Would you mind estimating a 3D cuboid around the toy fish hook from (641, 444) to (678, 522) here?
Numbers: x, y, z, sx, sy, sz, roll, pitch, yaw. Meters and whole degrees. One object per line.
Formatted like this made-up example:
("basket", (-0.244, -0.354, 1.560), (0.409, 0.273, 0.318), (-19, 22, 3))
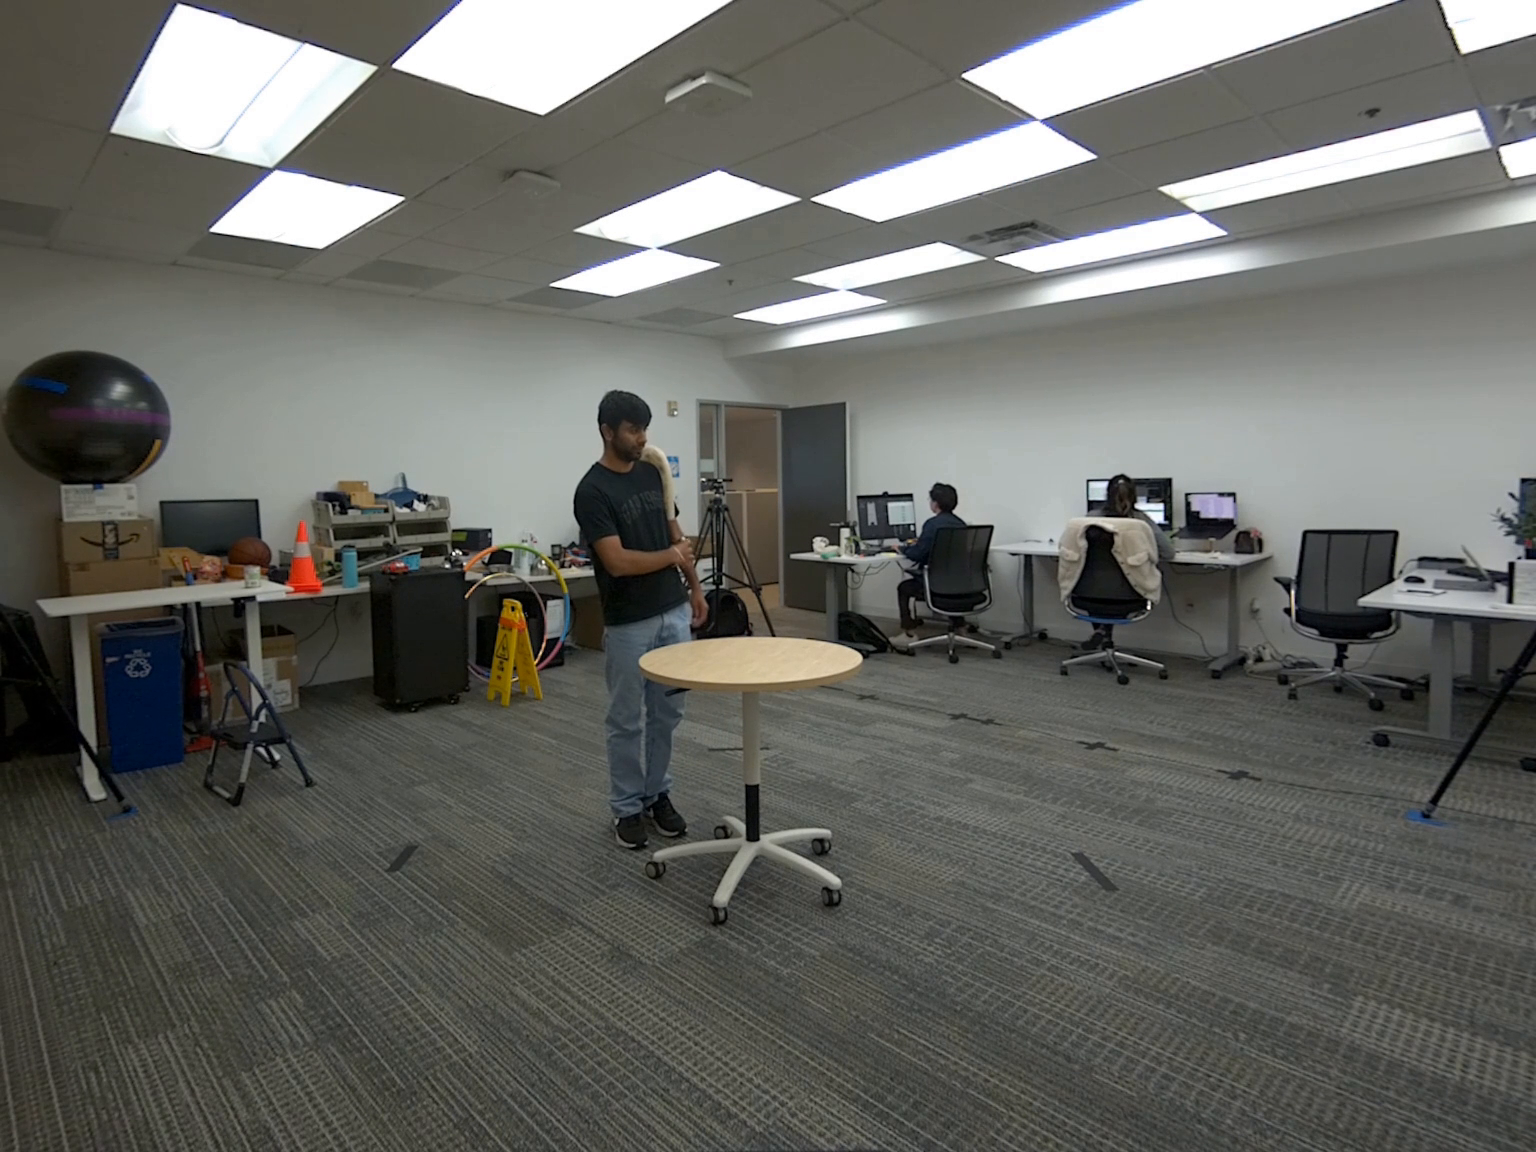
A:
("toy fish hook", (-0.446, -0.270, 3.451), (0.047, 0.504, 0.230), (-16, 6, -43))
